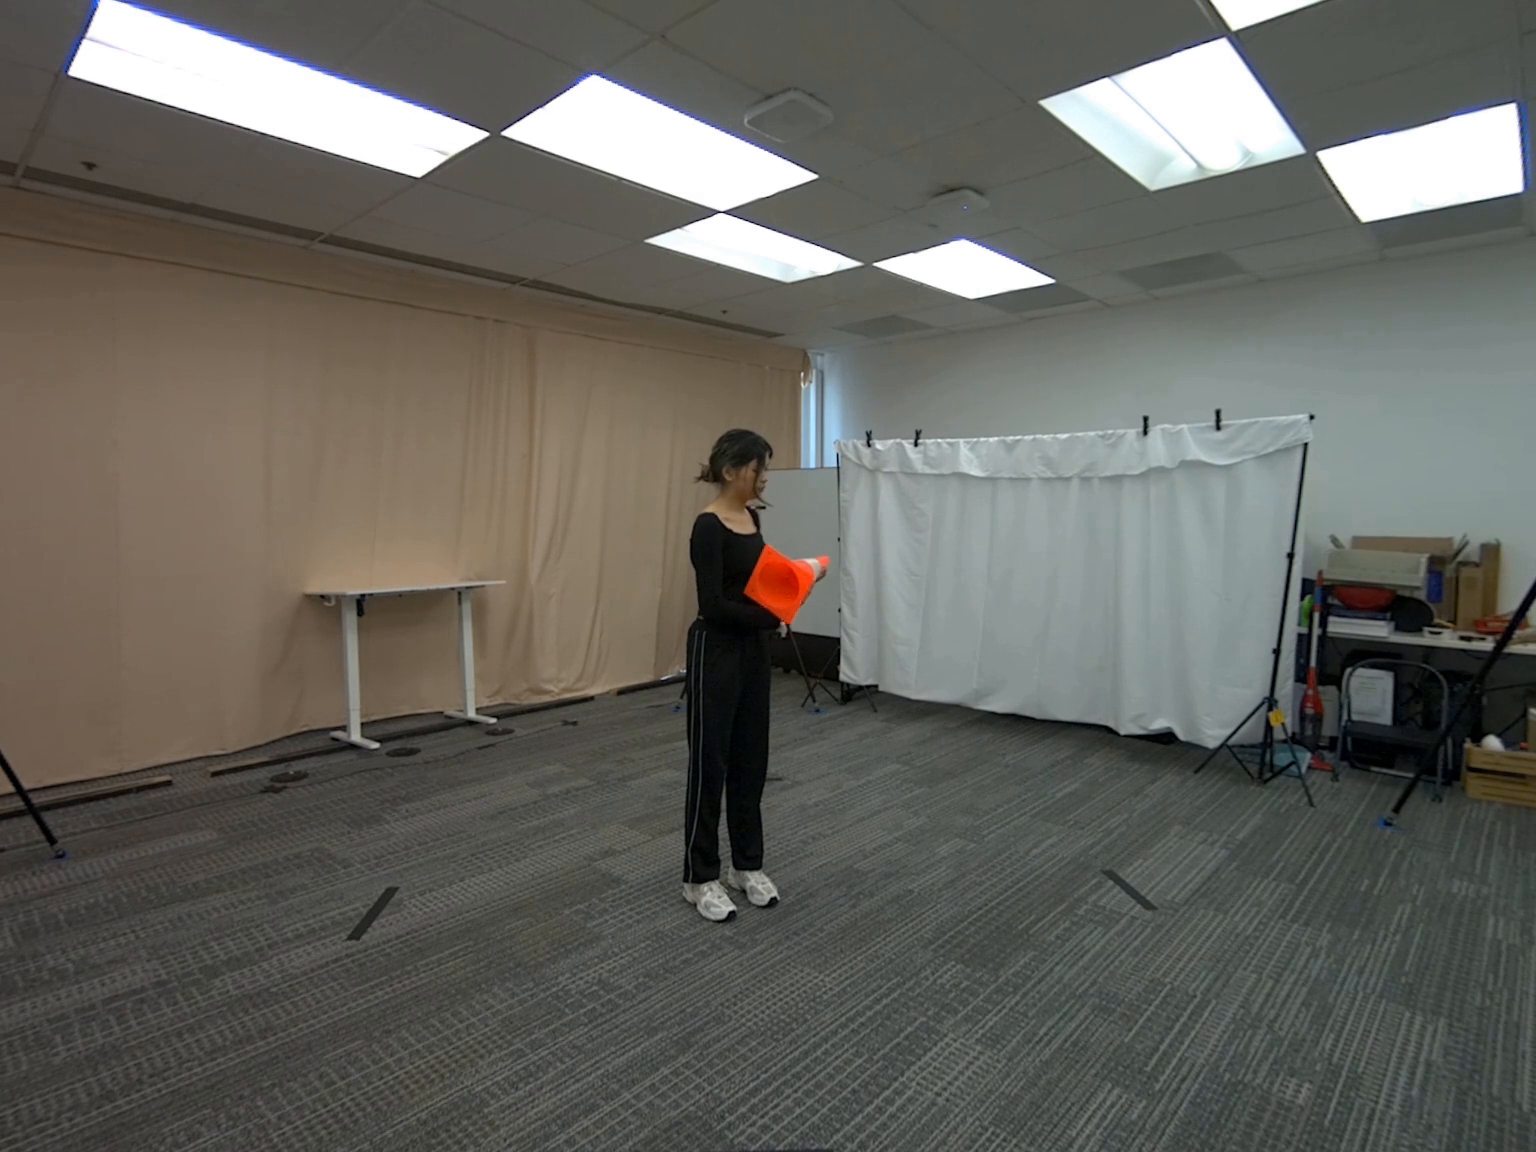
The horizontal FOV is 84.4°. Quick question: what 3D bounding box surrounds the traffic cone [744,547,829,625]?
[{"bbox_3d":[0.121,-0.010,2.938,0.210,0.203,0.376,34,27,18],"label":"traffic cone"}]
